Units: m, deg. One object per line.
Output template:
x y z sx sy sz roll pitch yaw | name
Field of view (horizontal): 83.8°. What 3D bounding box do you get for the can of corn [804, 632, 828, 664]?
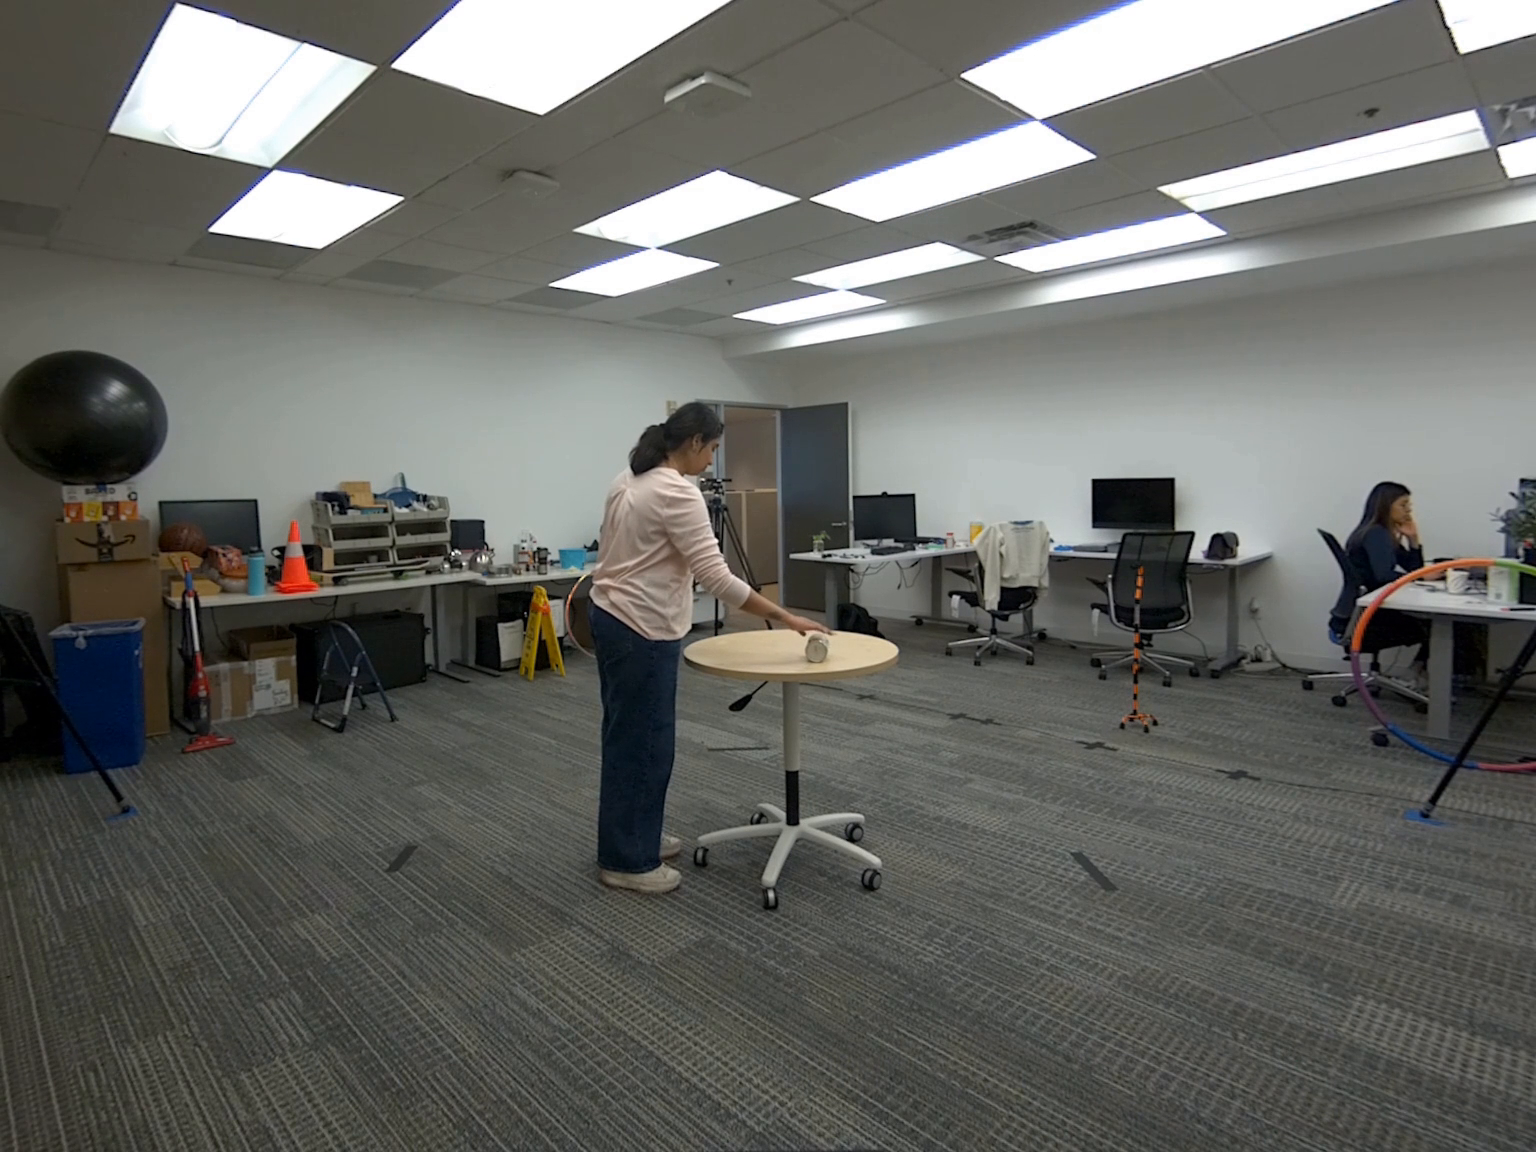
0.166 0.241 2.878 0.075 0.074 0.111 0 6 6 | can of corn
